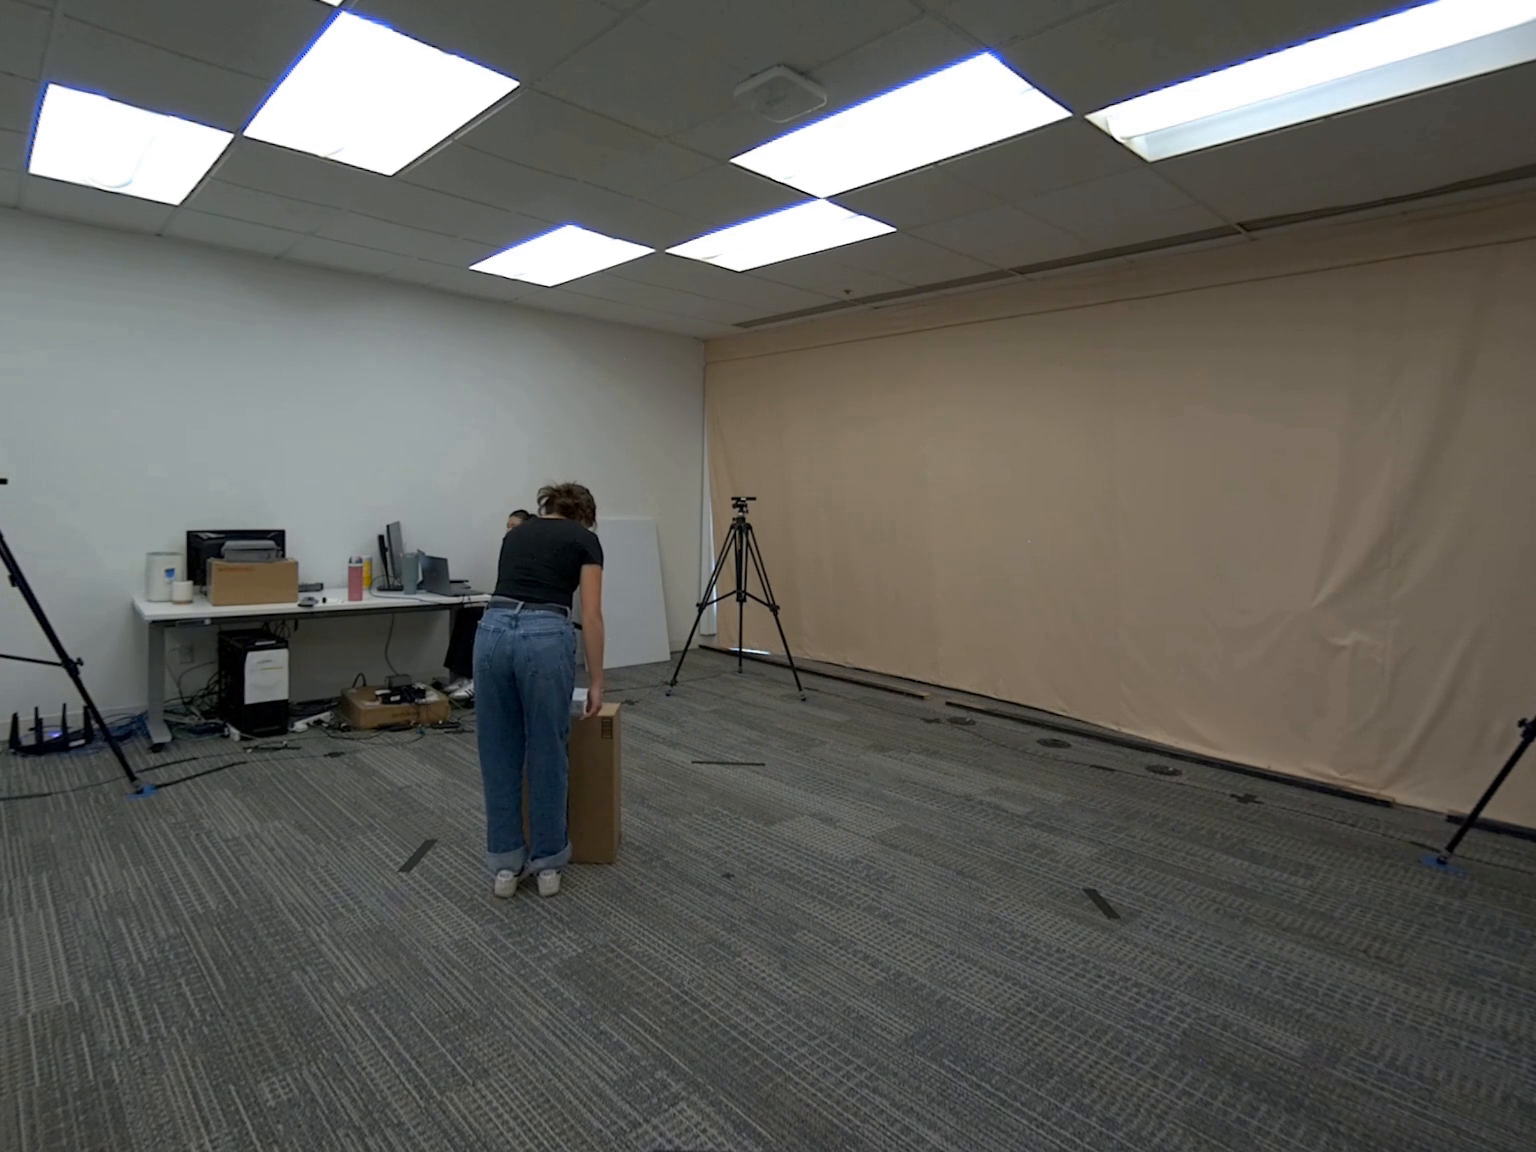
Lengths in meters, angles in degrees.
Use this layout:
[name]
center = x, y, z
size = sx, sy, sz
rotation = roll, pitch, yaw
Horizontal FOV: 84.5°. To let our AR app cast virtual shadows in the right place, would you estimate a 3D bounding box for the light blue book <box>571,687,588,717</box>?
[light blue book]
center = -0.811, 0.489, 3.280
size = 0.264, 0.059, 0.189
rotation = 2, 4, 13
